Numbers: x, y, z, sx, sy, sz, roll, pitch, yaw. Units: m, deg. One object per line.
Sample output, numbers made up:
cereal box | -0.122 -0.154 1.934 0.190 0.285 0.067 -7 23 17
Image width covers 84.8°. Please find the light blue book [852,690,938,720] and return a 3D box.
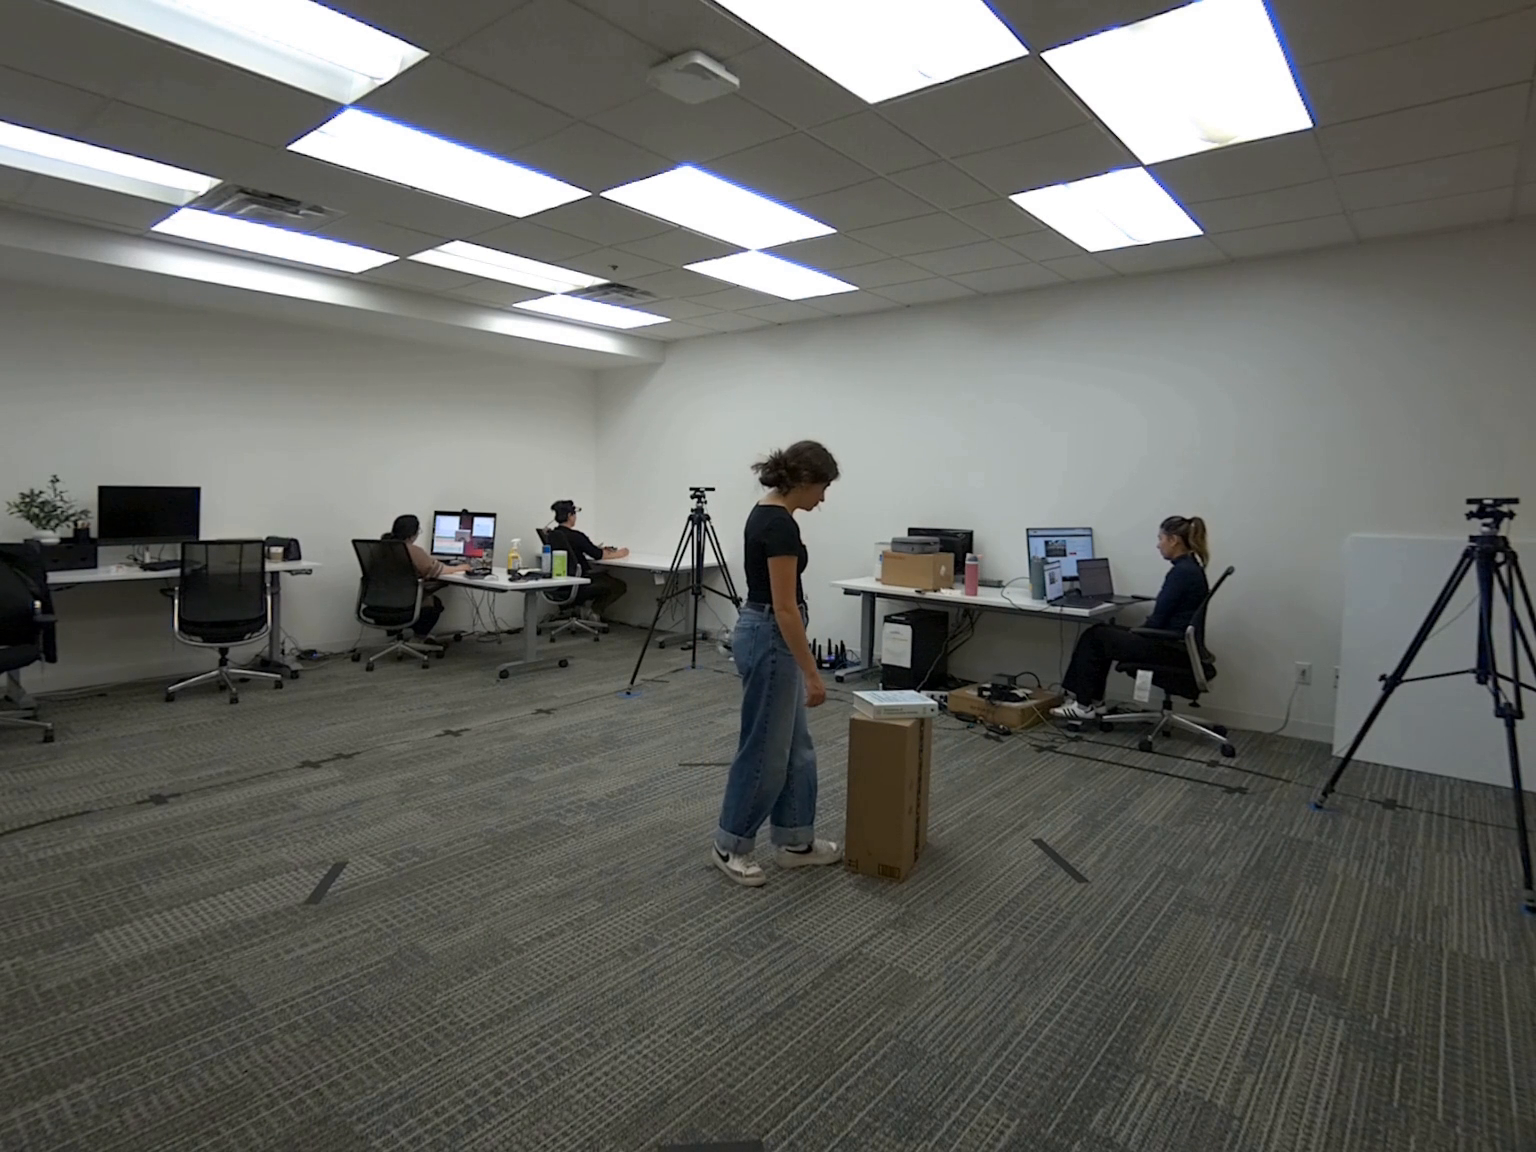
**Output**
light blue book | 0.469 0.484 3.192 0.256 0.059 0.195 1 6 -17
